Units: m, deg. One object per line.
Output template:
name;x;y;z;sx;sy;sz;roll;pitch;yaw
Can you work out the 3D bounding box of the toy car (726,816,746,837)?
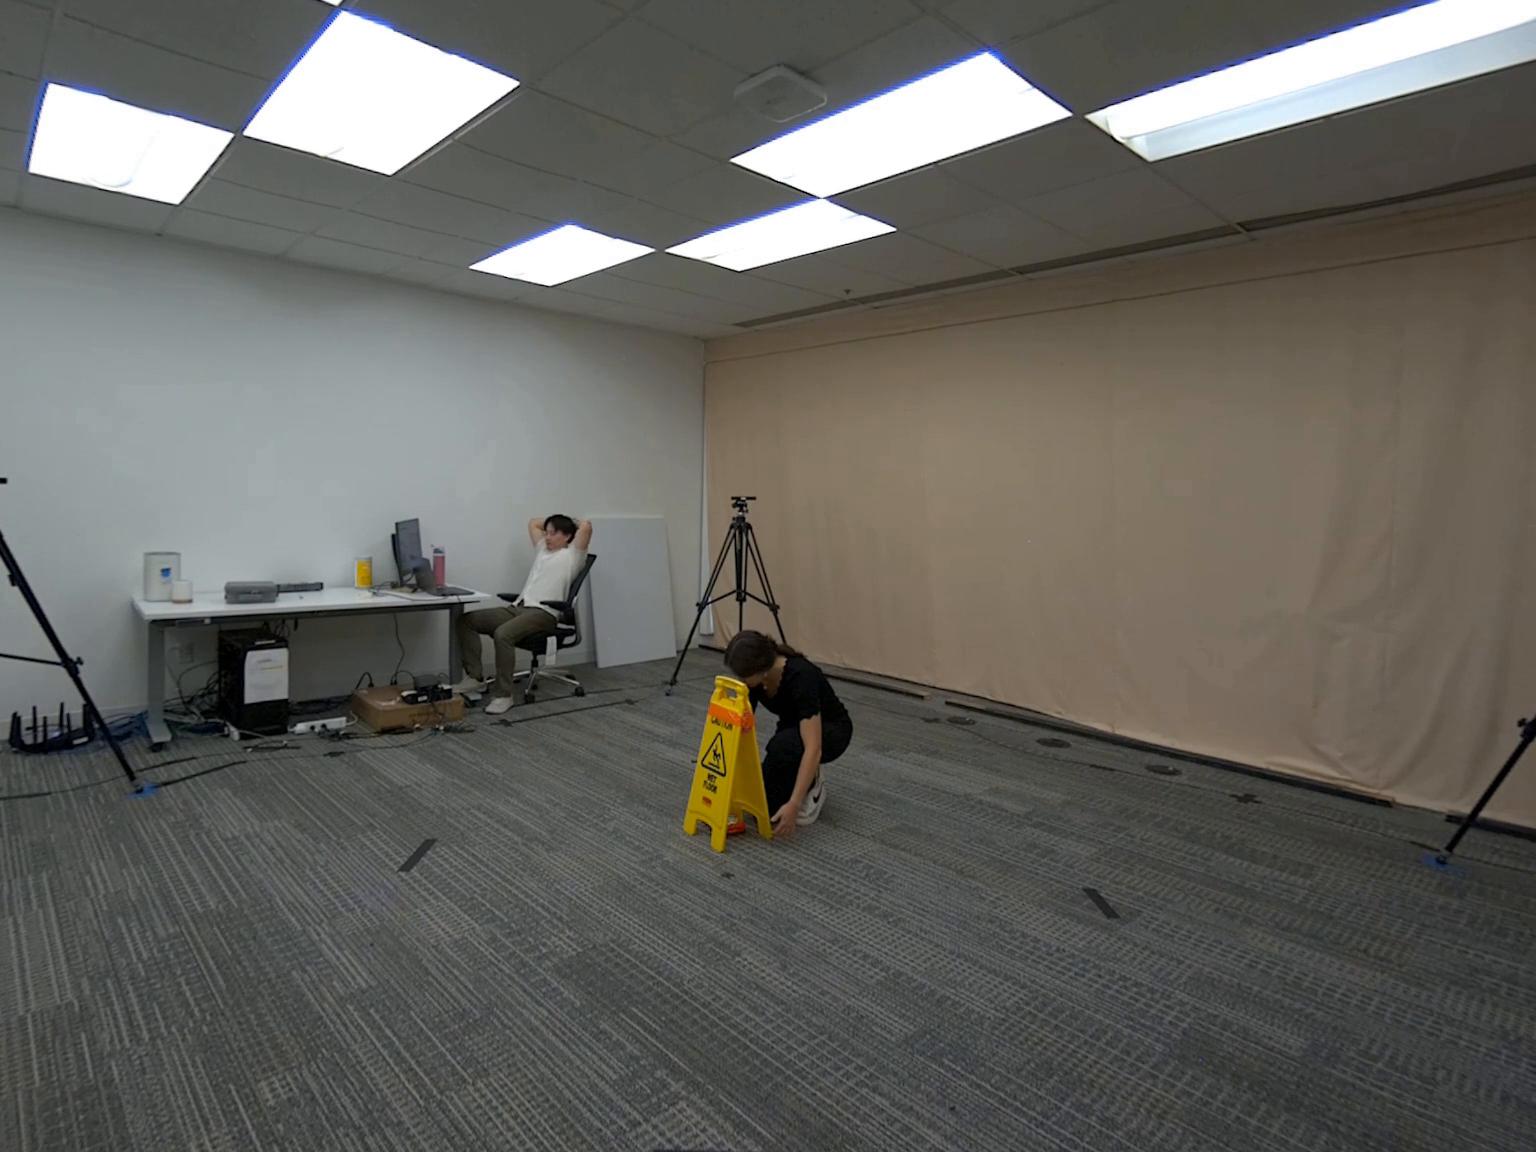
toy car;-0.200;1.031;3.579;0.128;0.082;0.262;-1;18;-28
